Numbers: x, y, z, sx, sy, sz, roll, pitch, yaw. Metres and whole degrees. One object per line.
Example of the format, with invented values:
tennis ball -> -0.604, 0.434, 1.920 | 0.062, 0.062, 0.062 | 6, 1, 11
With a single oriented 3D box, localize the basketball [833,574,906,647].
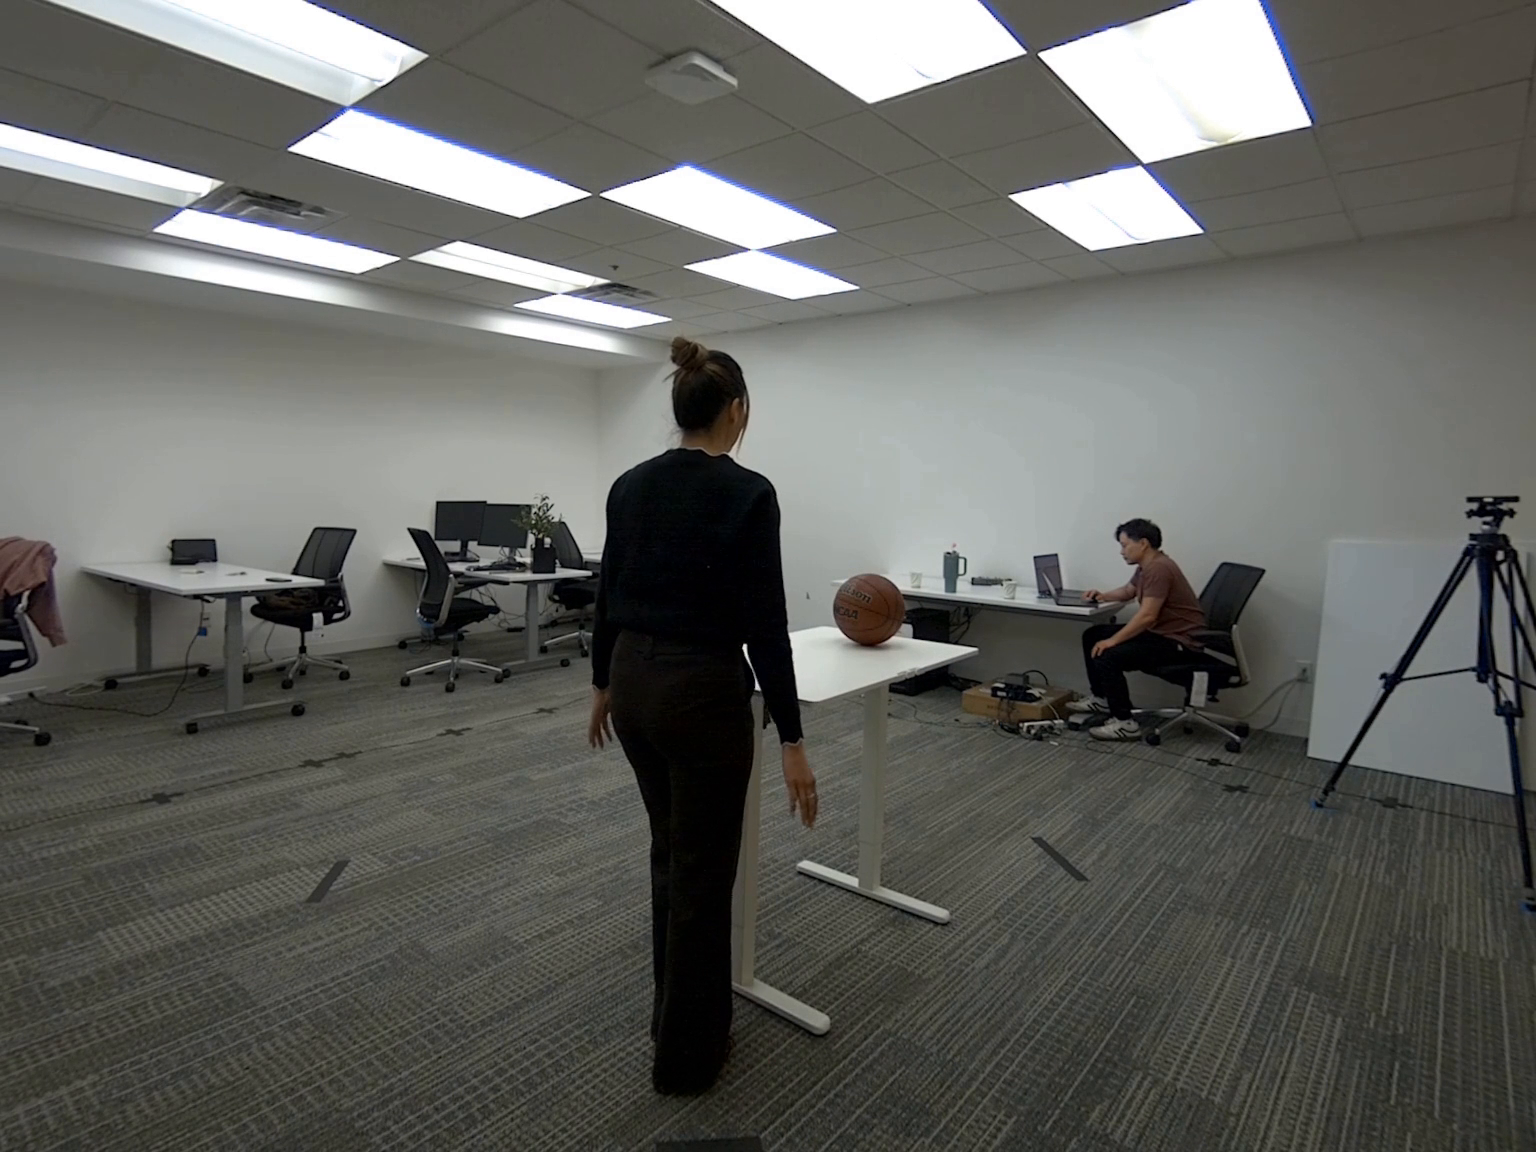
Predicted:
basketball -> 0.336, 0.111, 2.820 | 0.235, 0.235, 0.237 | 1, 4, -2
